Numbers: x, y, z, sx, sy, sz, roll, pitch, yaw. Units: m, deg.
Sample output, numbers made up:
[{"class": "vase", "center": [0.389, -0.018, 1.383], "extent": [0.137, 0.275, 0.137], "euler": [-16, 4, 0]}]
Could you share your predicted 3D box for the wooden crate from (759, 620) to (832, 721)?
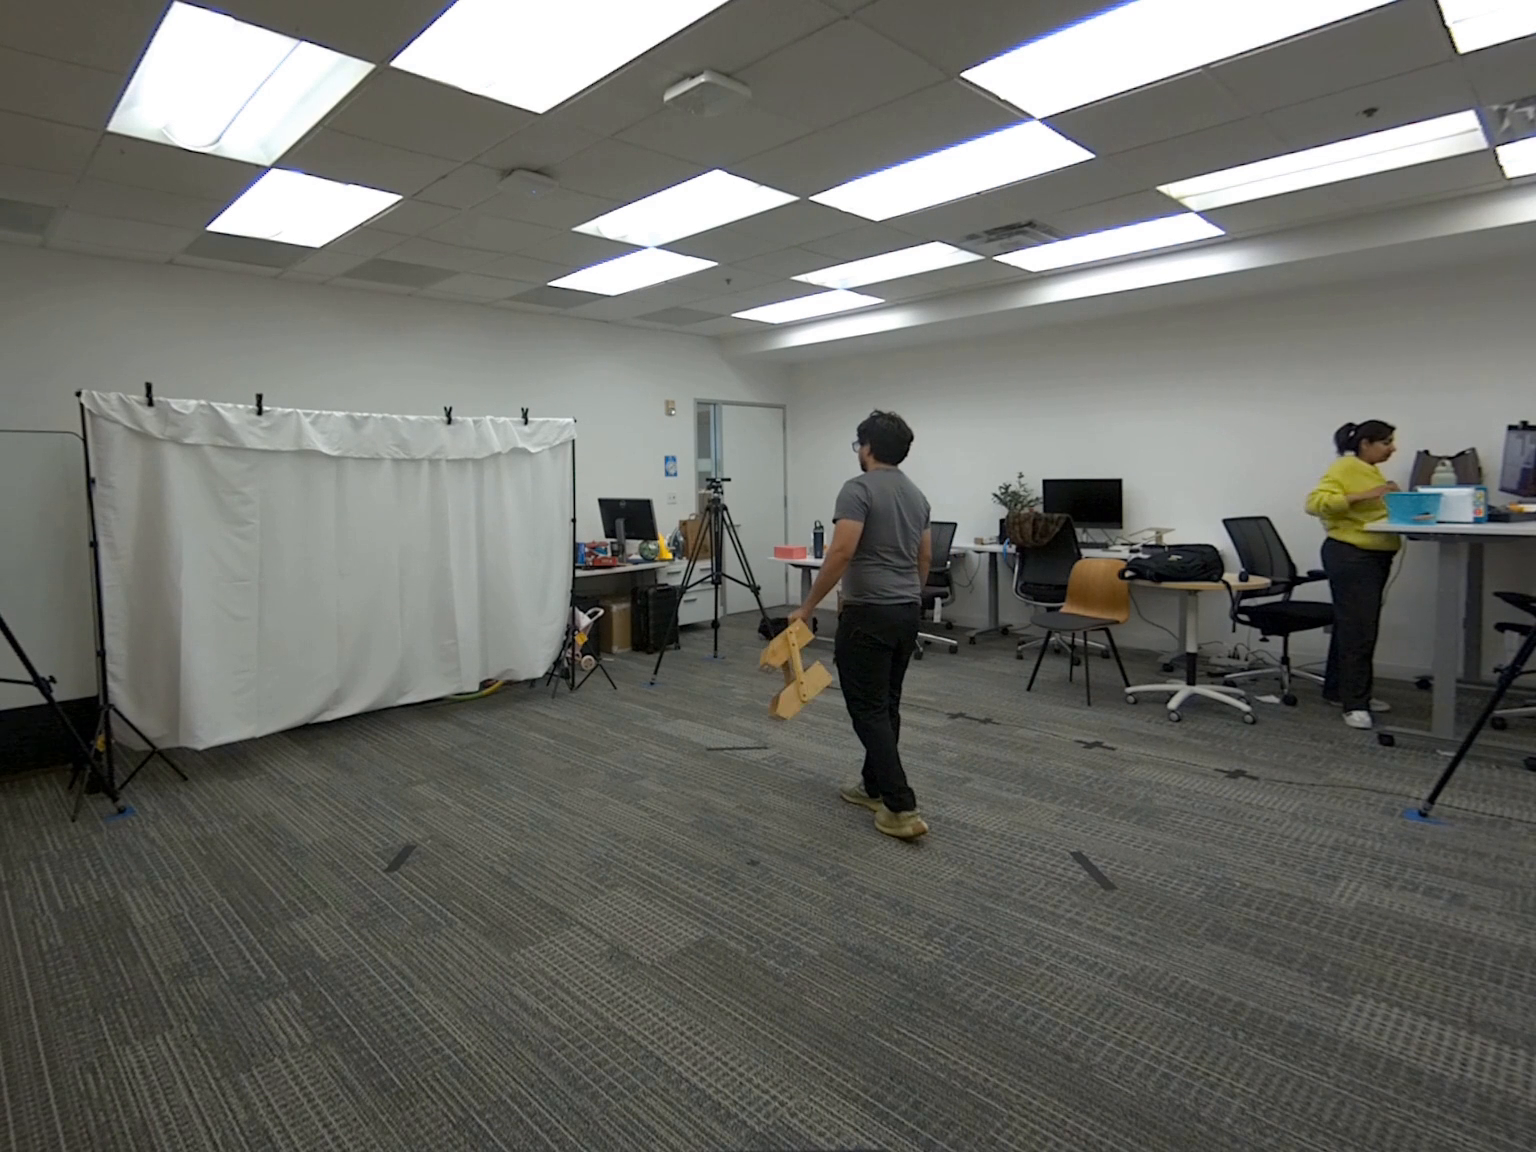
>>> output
[{"class": "wooden crate", "center": [0.075, 0.374, 3.368], "extent": [0.301, 0.276, 0.322], "euler": [-38, -7, -13]}]
